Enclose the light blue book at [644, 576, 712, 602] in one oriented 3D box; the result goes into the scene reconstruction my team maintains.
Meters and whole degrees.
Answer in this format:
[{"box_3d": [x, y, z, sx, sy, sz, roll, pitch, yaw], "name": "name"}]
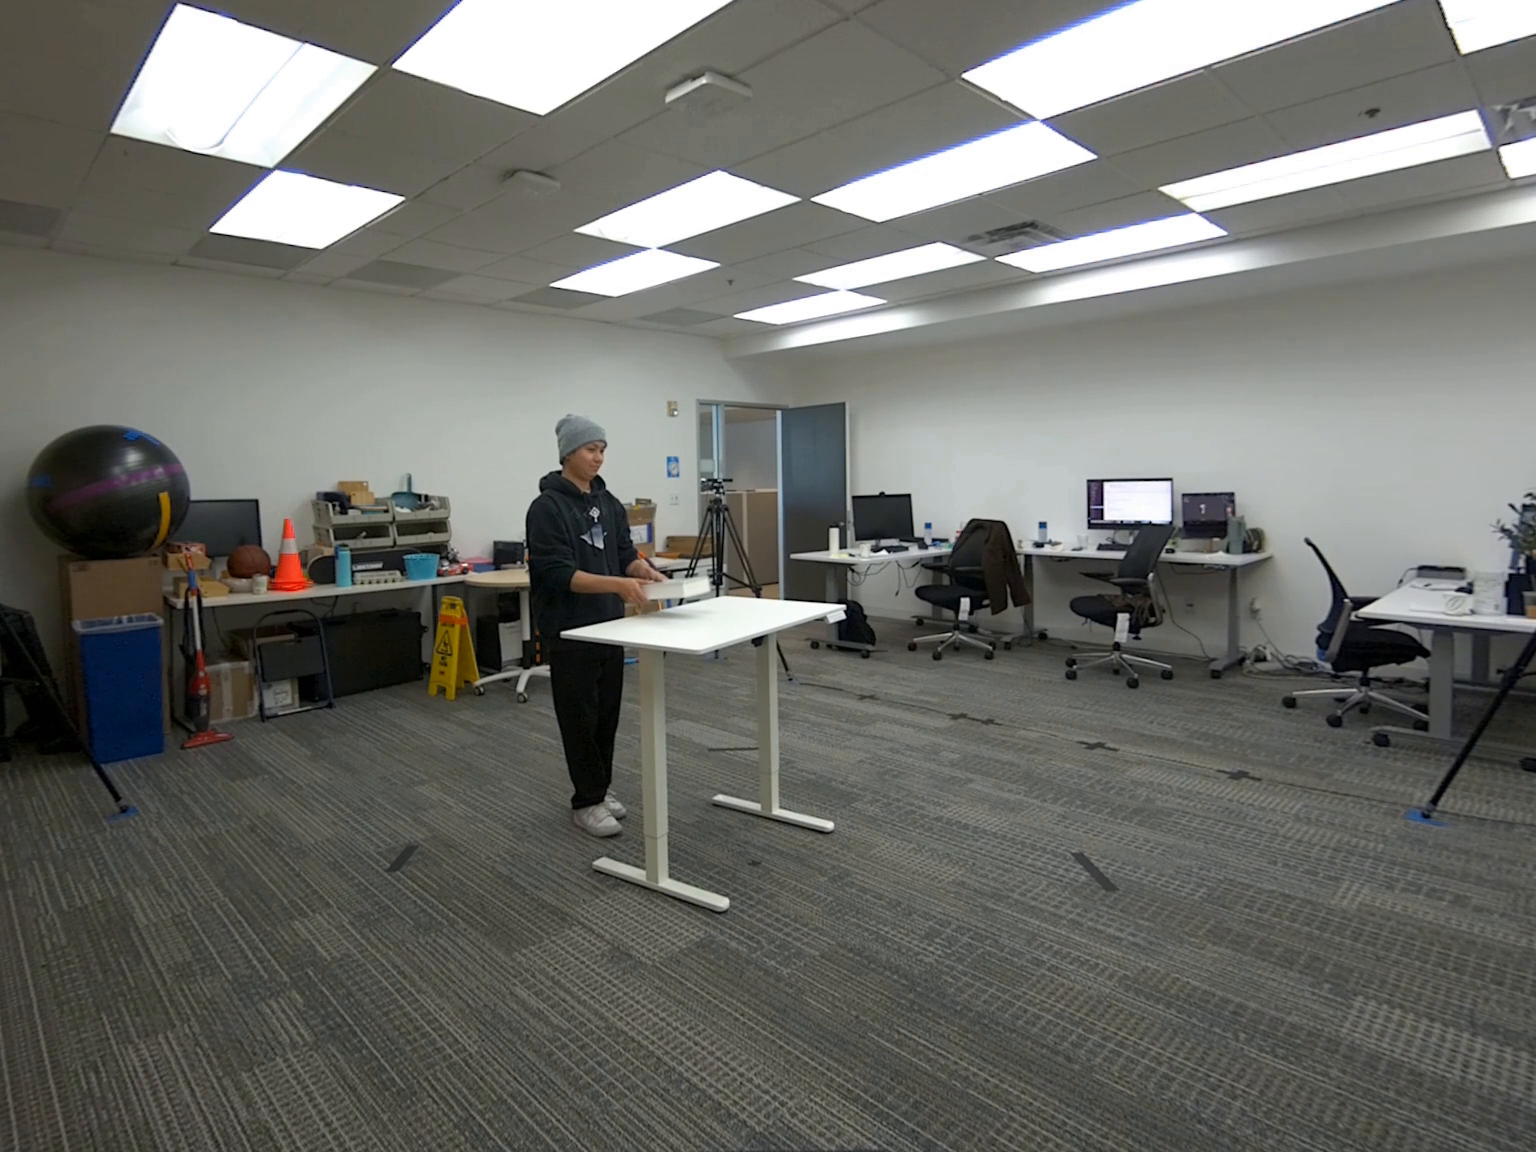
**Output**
[{"box_3d": [-0.388, 0.056, 3.243, 0.266, 0.059, 0.188, -6, 3, 24], "name": "light blue book"}]
